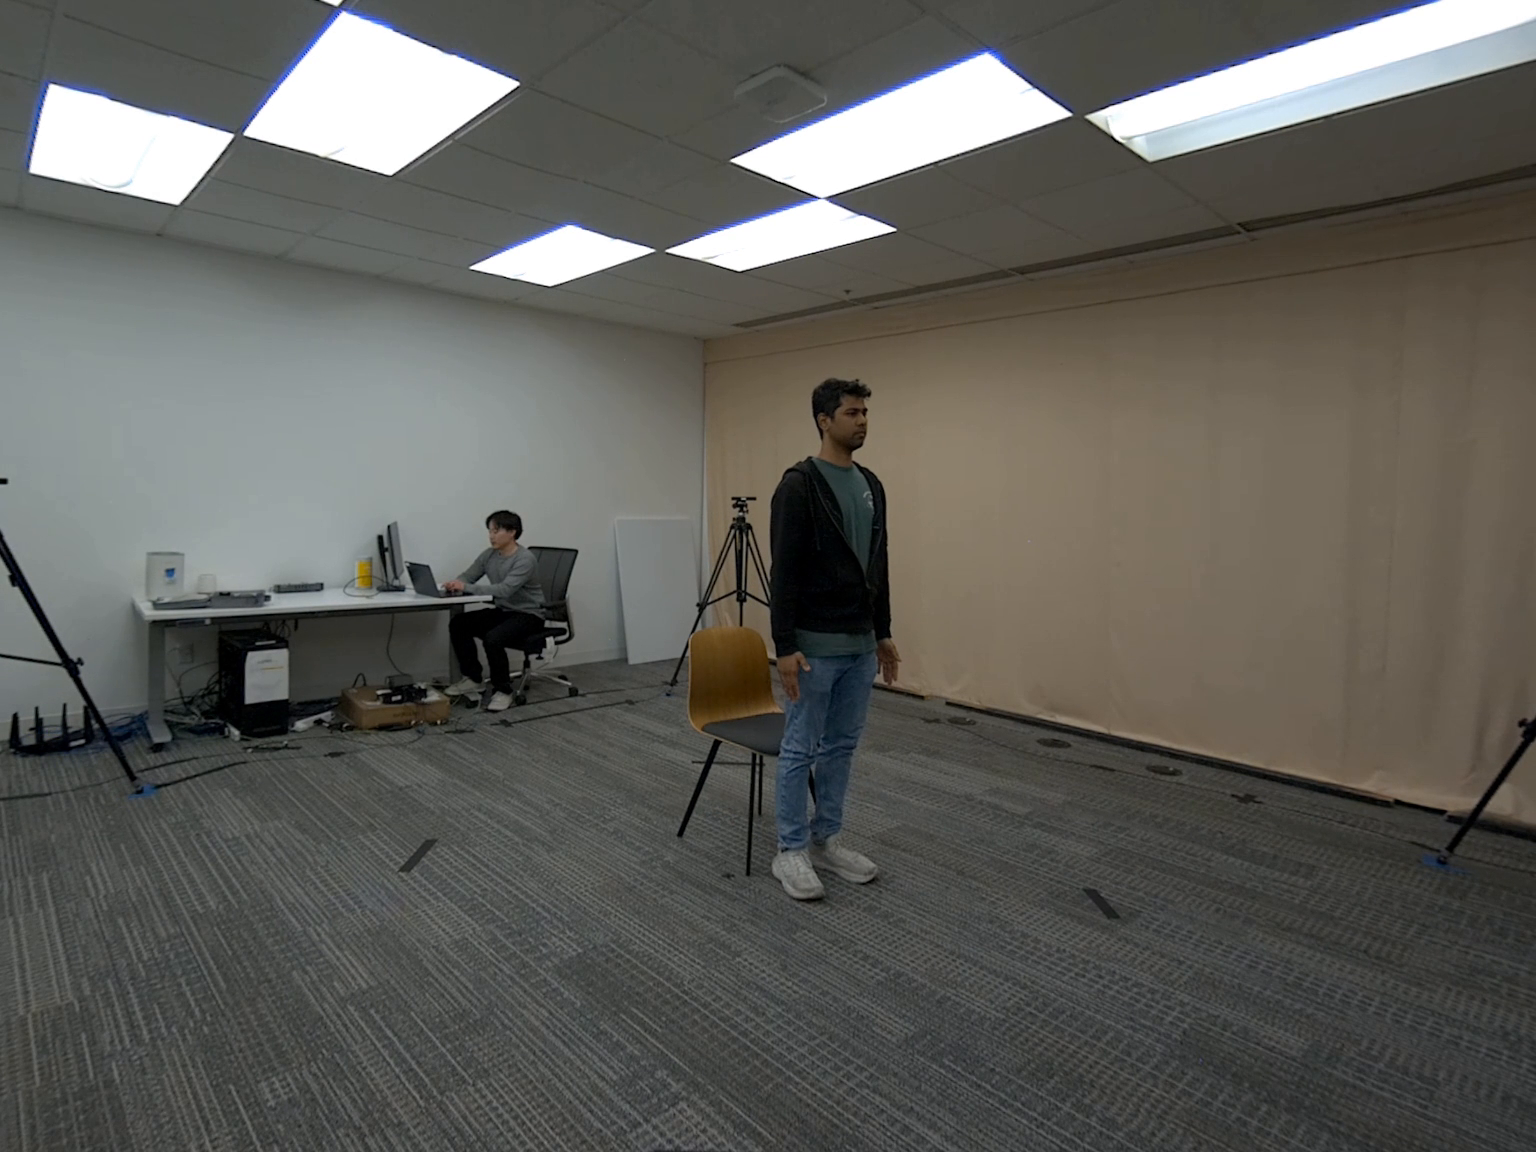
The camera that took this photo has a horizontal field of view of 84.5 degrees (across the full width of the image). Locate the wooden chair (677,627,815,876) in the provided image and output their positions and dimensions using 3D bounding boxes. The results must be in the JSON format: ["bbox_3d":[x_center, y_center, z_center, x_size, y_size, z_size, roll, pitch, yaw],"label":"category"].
[{"bbox_3d":[-0.051,0.660,3.389,0.467,0.877,0.535,-1,0,-39],"label":"wooden chair"}]
